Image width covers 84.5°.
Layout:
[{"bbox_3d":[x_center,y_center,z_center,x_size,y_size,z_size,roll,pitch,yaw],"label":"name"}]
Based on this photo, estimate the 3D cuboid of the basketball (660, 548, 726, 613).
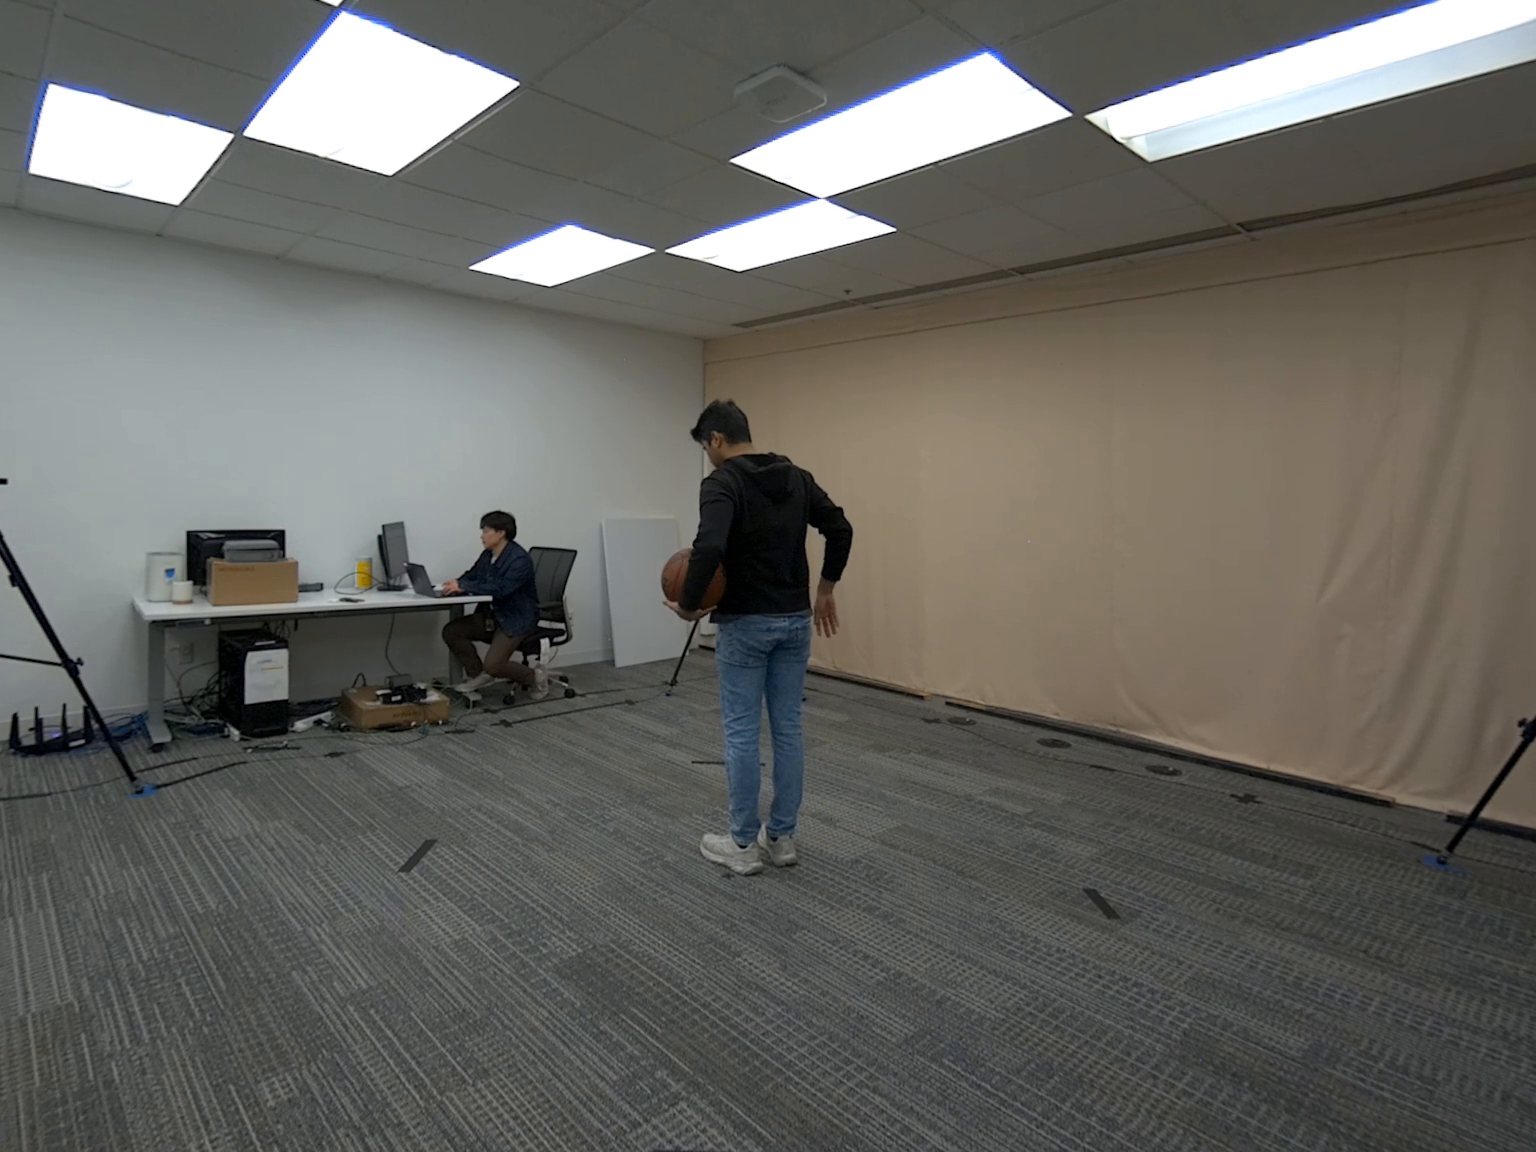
[{"bbox_3d":[-0.270,0.004,3.075,0.236,0.235,0.237,1,4,-1],"label":"basketball"}]
